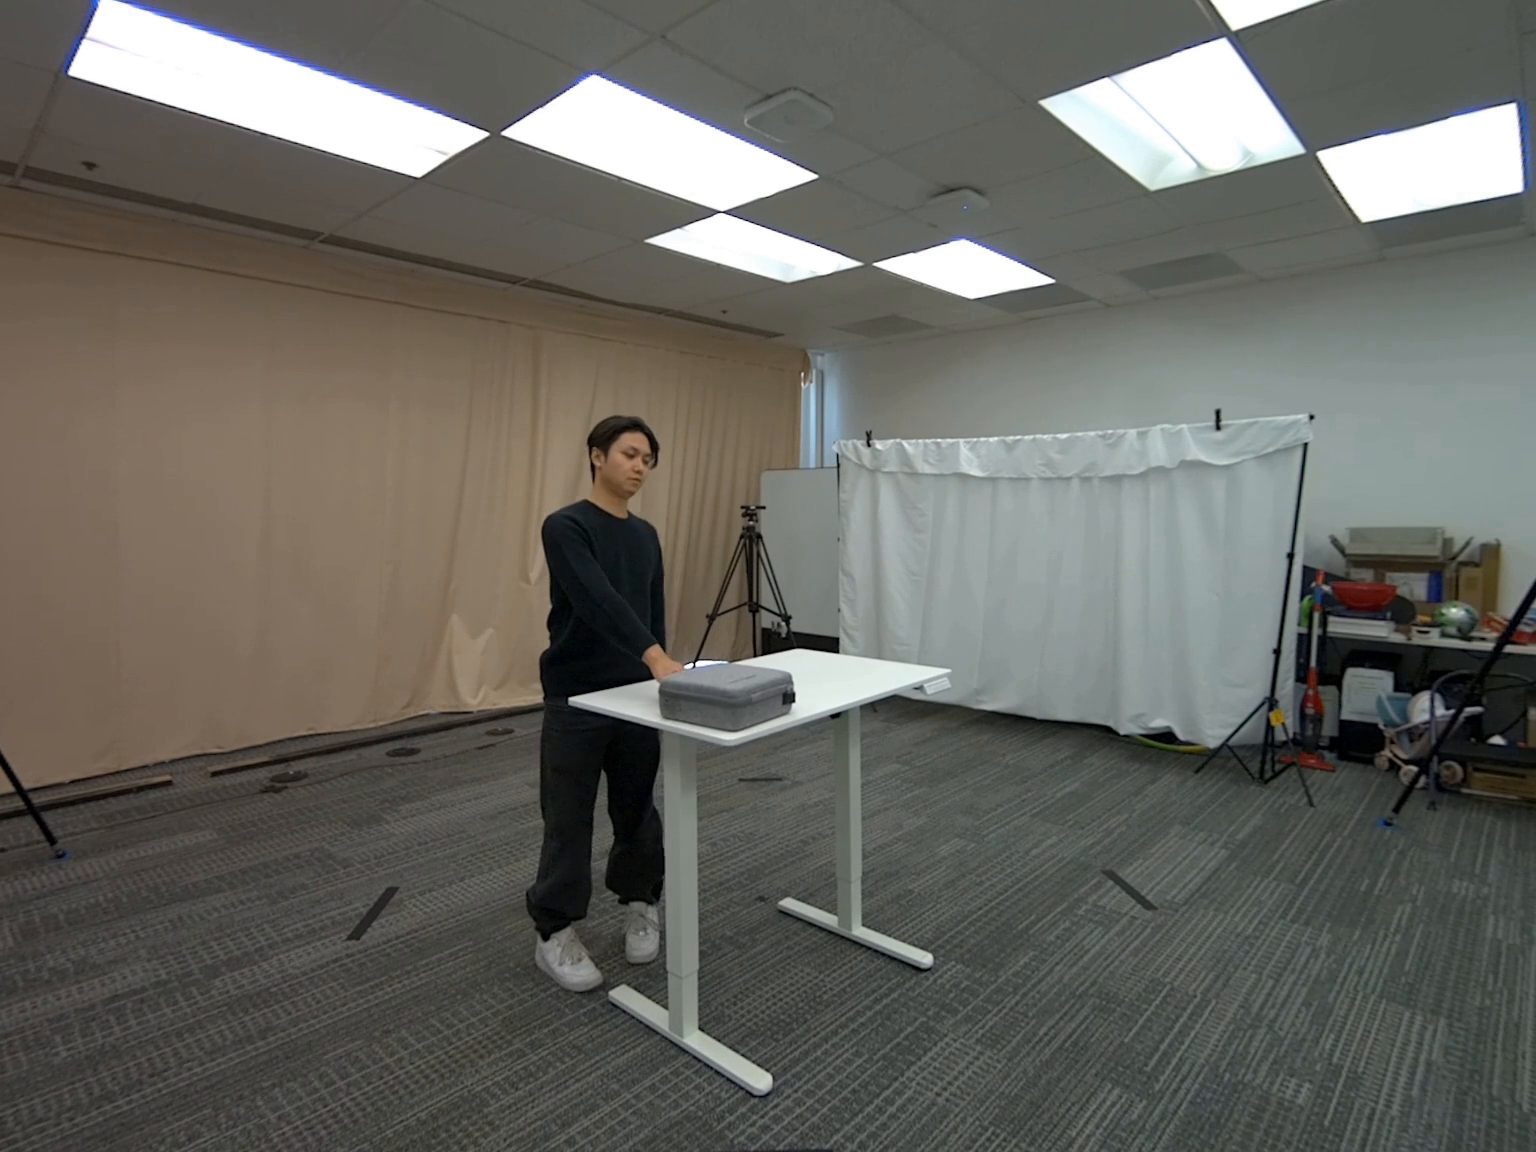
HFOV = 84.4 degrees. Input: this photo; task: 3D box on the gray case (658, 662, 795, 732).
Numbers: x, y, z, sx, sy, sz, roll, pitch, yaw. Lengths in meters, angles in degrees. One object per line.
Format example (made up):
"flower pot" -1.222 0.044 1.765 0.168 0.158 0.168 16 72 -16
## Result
"gray case" -0.097 0.290 2.060 0.269 0.104 0.250 1 6 36
